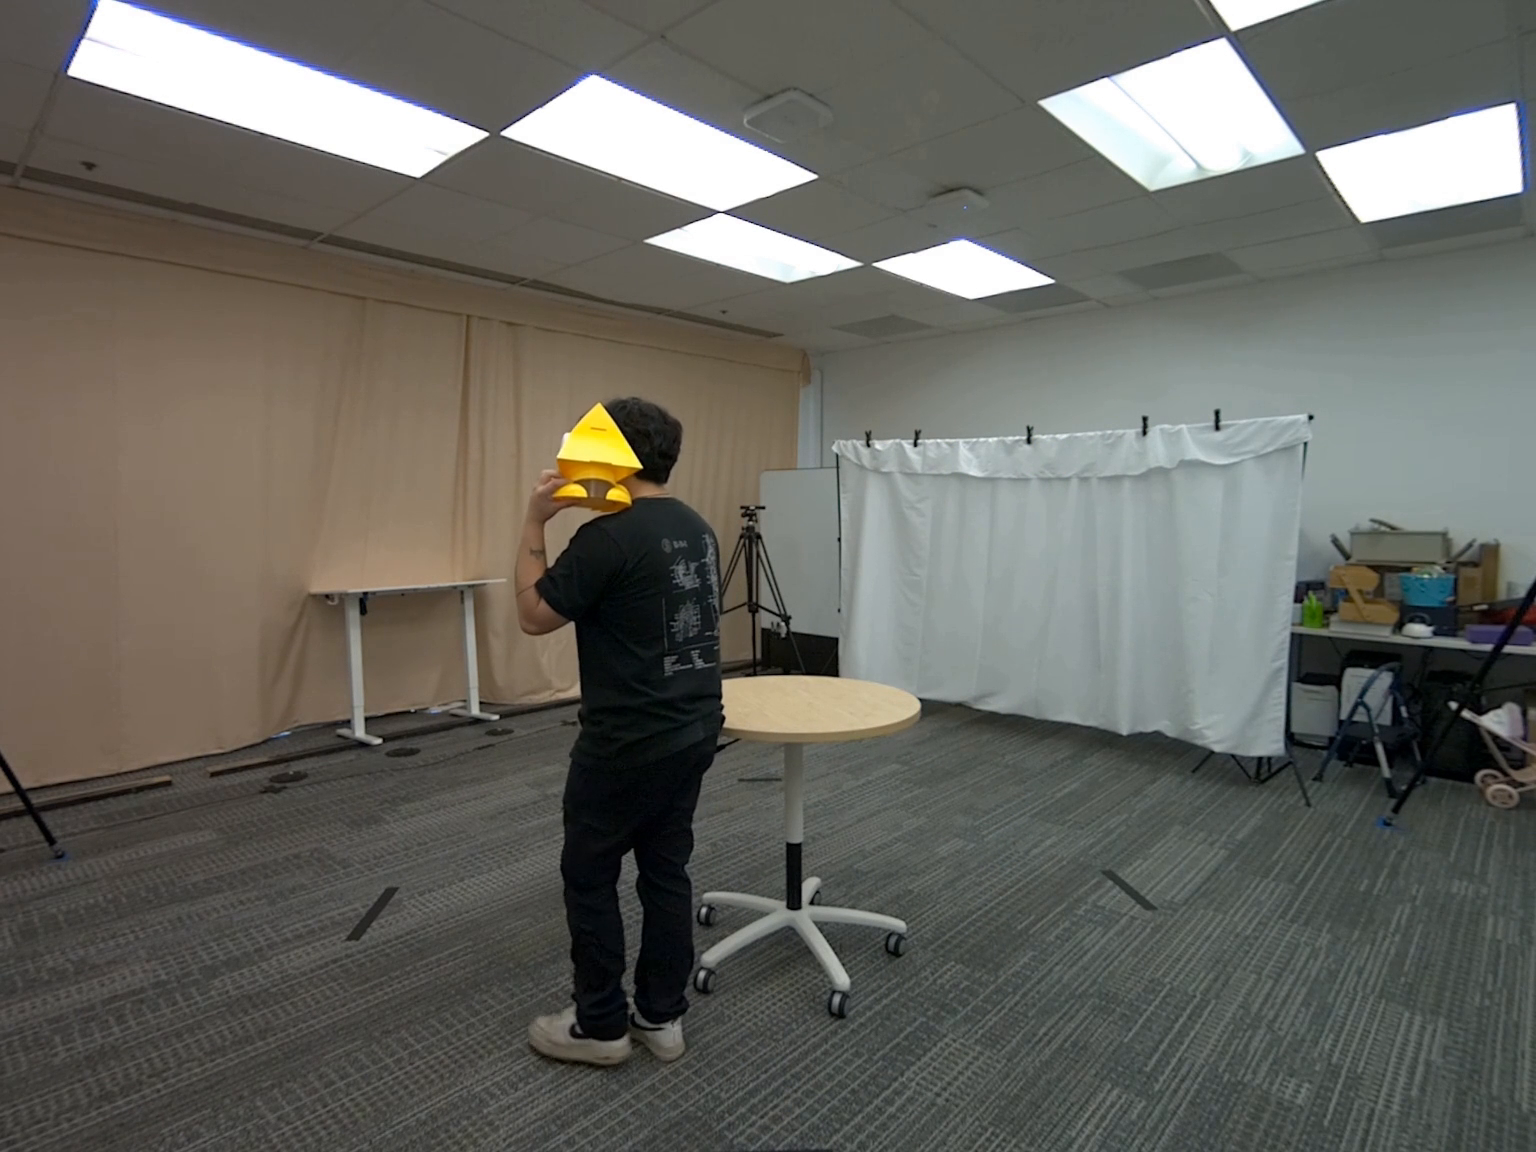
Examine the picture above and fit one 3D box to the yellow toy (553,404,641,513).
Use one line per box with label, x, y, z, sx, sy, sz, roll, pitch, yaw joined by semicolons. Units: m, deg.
yellow toy;-0.432;-0.284;2.013;0.199;0.232;0.197;4;-8;-26
